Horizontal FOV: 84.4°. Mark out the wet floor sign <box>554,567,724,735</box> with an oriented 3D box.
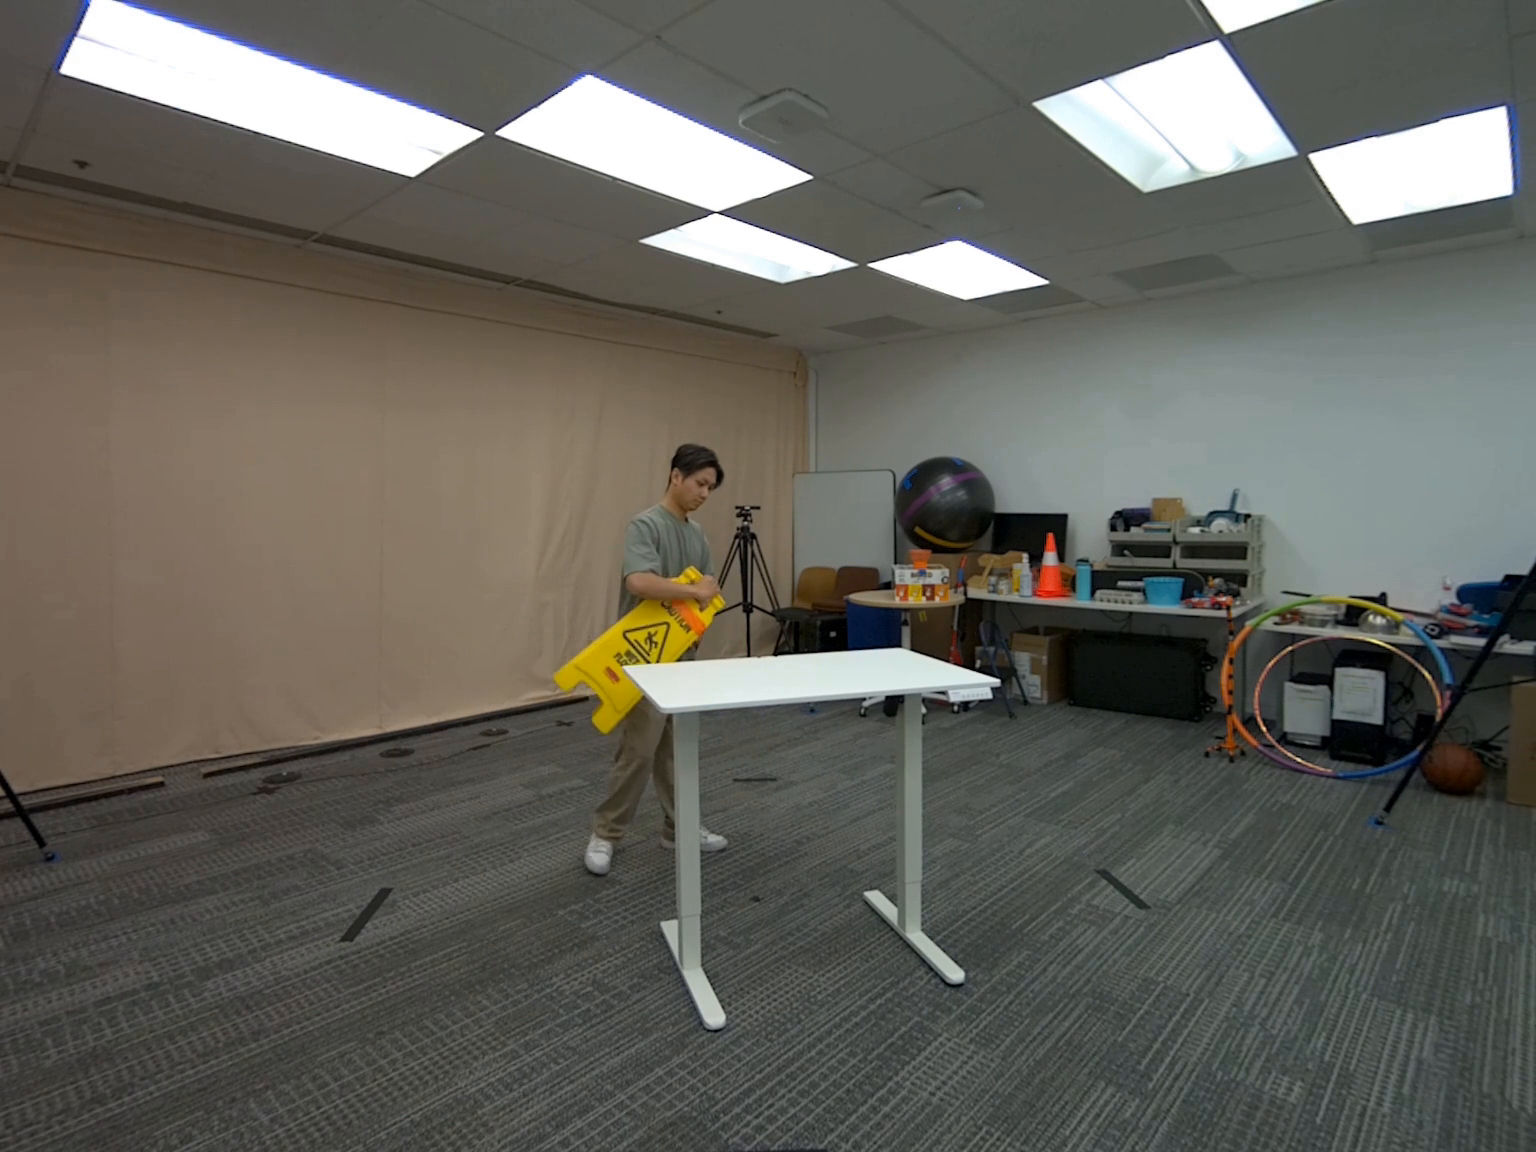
[{"bbox_3d":[-0.451,0.260,3.136,0.644,0.283,0.290,-42,0,-8],"label":"wet floor sign"}]
